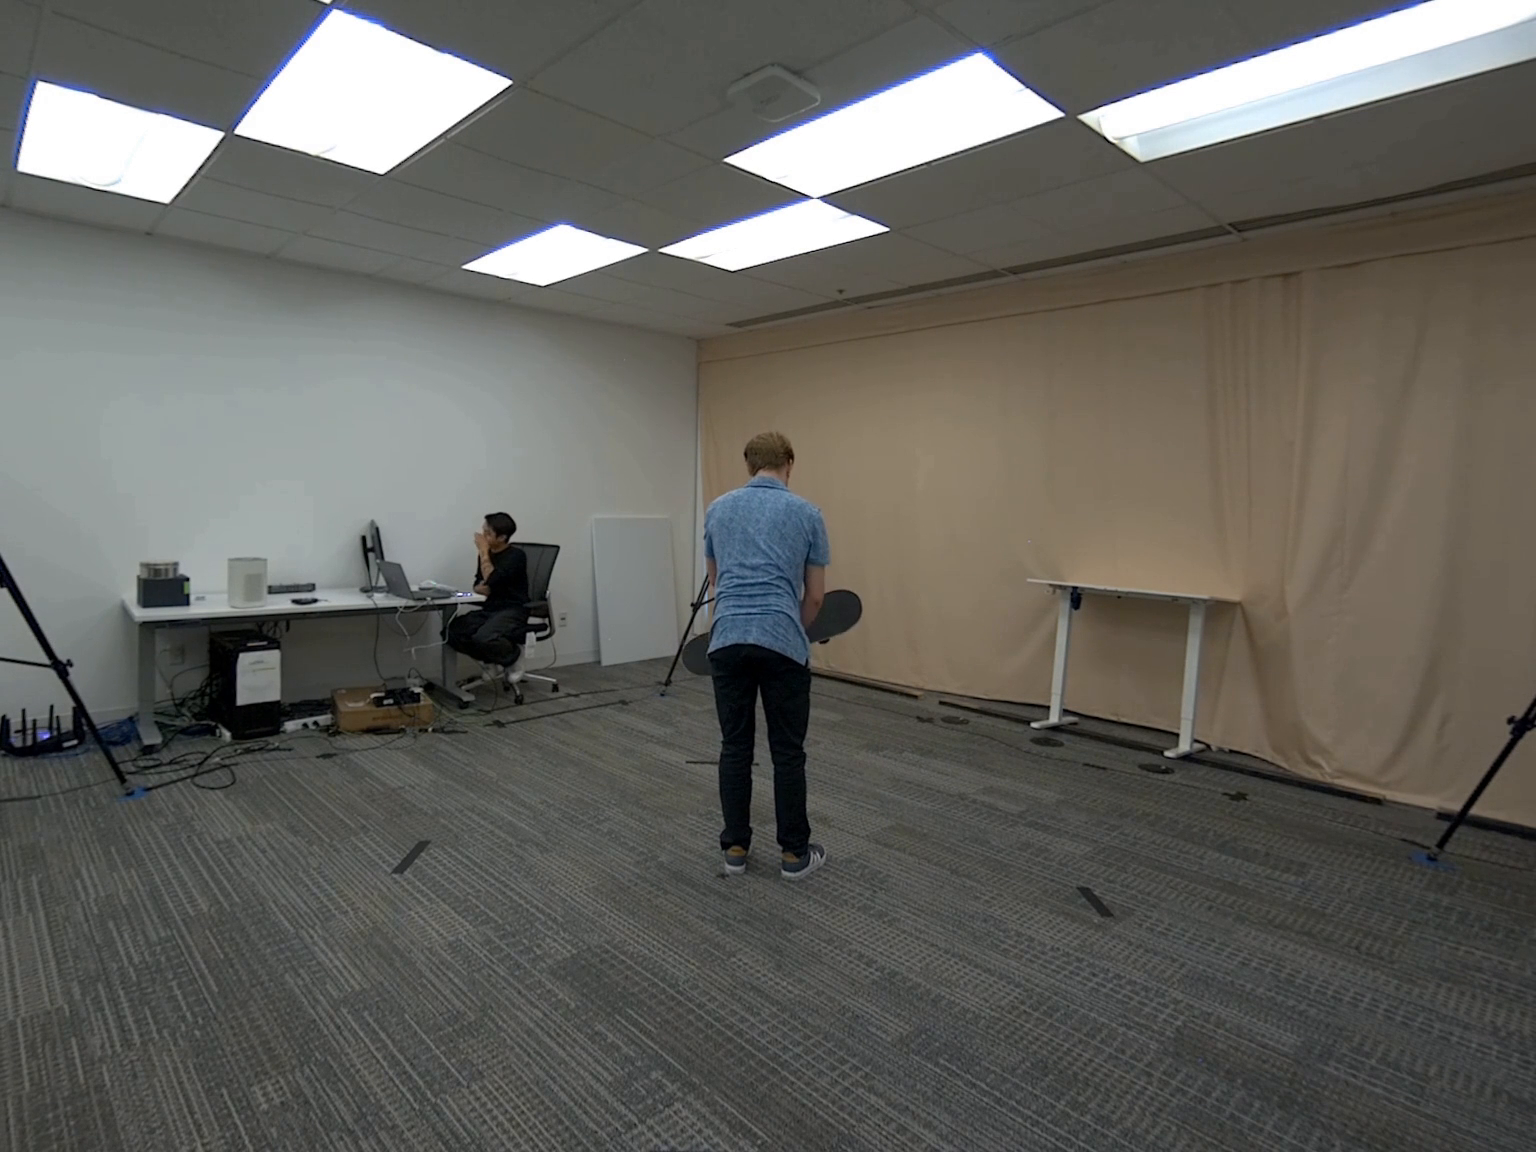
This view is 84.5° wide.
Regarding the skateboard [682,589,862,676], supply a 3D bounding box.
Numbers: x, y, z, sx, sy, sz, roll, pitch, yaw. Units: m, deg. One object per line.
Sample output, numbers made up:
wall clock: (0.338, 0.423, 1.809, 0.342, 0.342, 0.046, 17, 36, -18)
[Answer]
skateboard: (0.006, 0.256, 3.553, 0.786, 0.197, 0.108, -19, -22, 3)
